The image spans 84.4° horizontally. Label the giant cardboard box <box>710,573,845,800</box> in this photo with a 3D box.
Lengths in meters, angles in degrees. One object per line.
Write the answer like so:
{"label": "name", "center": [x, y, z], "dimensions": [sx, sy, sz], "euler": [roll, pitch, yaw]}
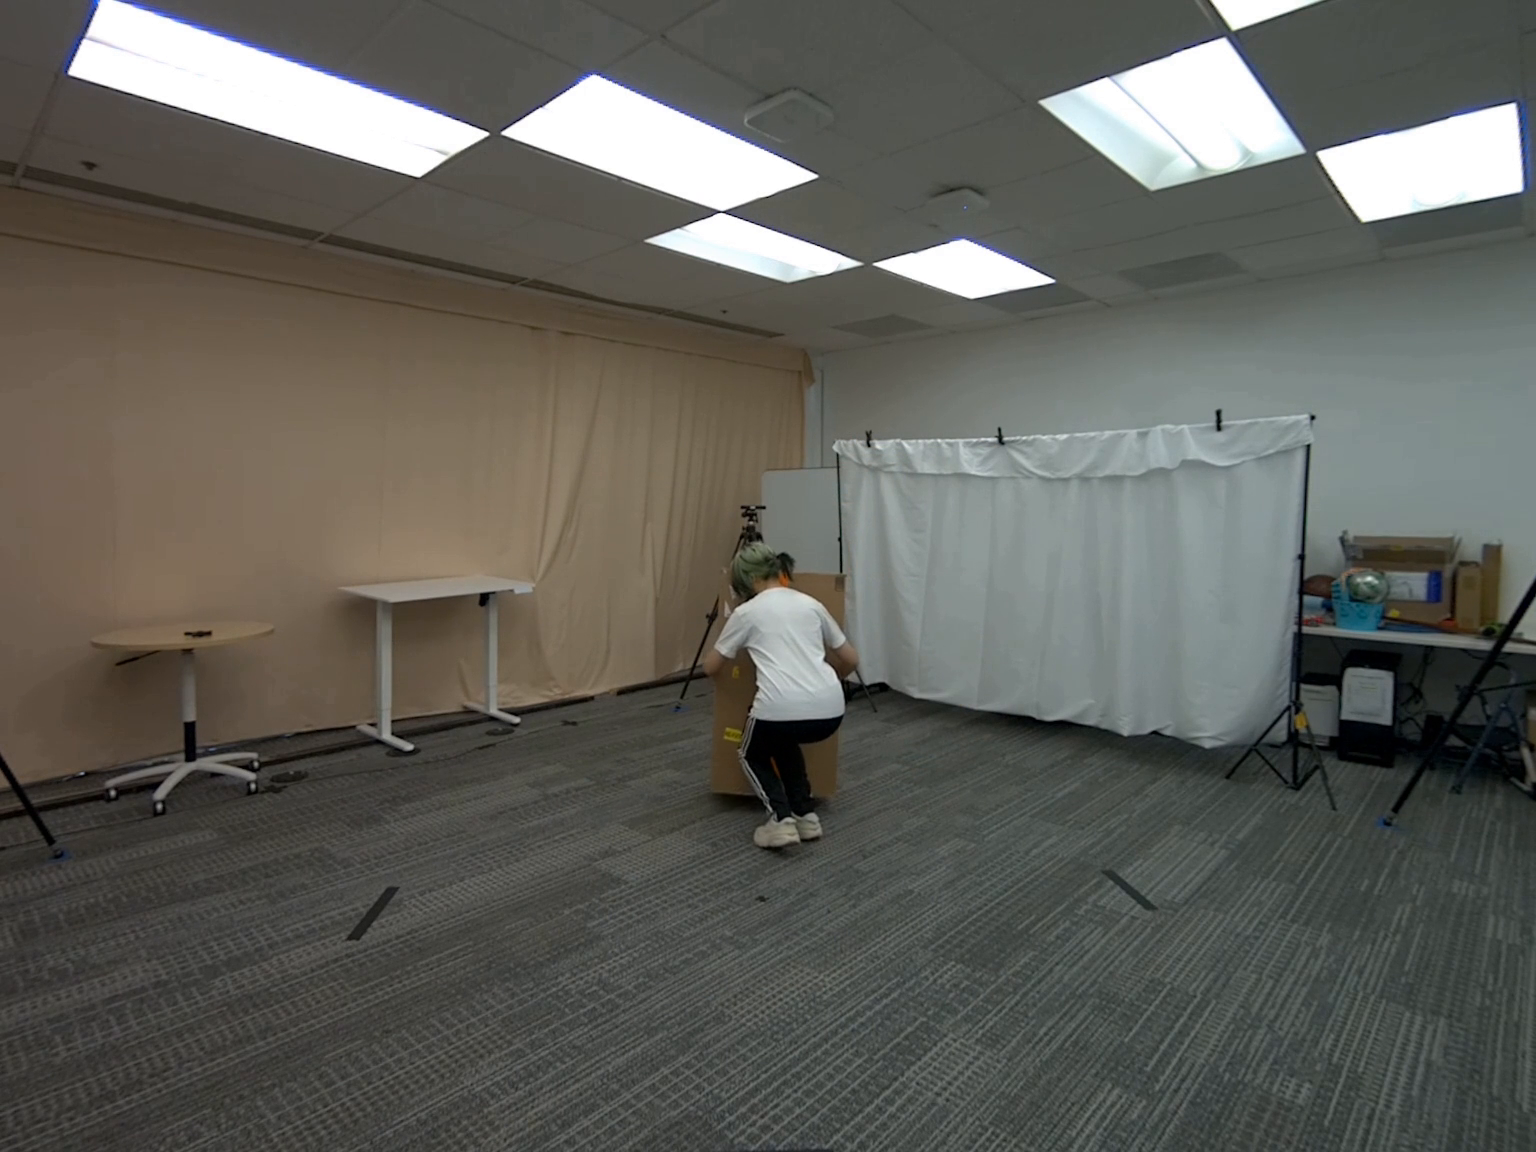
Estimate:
{"label": "giant cardboard box", "center": [0.034, 0.485, 4.048], "dimensions": [0.583, 1.028, 0.447], "euler": [2, -2, -2]}
